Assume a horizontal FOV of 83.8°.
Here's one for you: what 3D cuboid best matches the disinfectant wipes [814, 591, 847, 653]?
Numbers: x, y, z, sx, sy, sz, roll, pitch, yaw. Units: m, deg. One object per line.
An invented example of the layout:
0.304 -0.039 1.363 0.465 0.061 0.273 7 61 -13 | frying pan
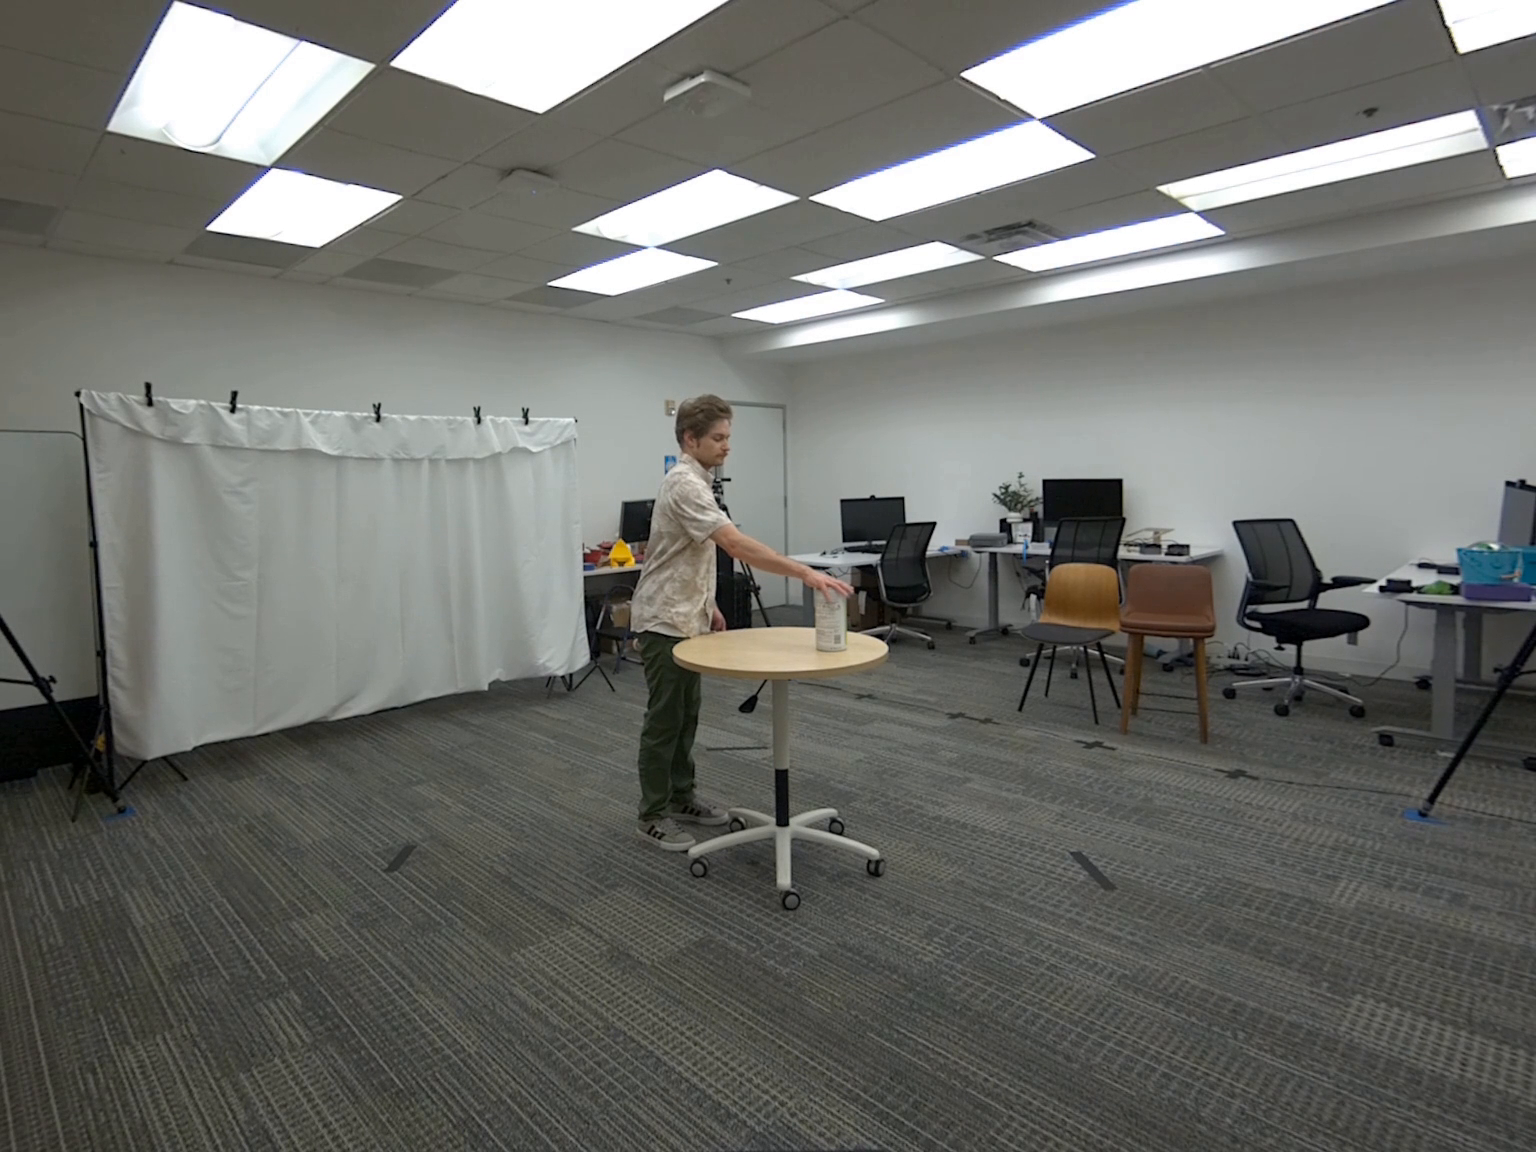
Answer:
0.221 0.149 2.986 0.118 0.216 0.118 -4 4 -1 | disinfectant wipes
